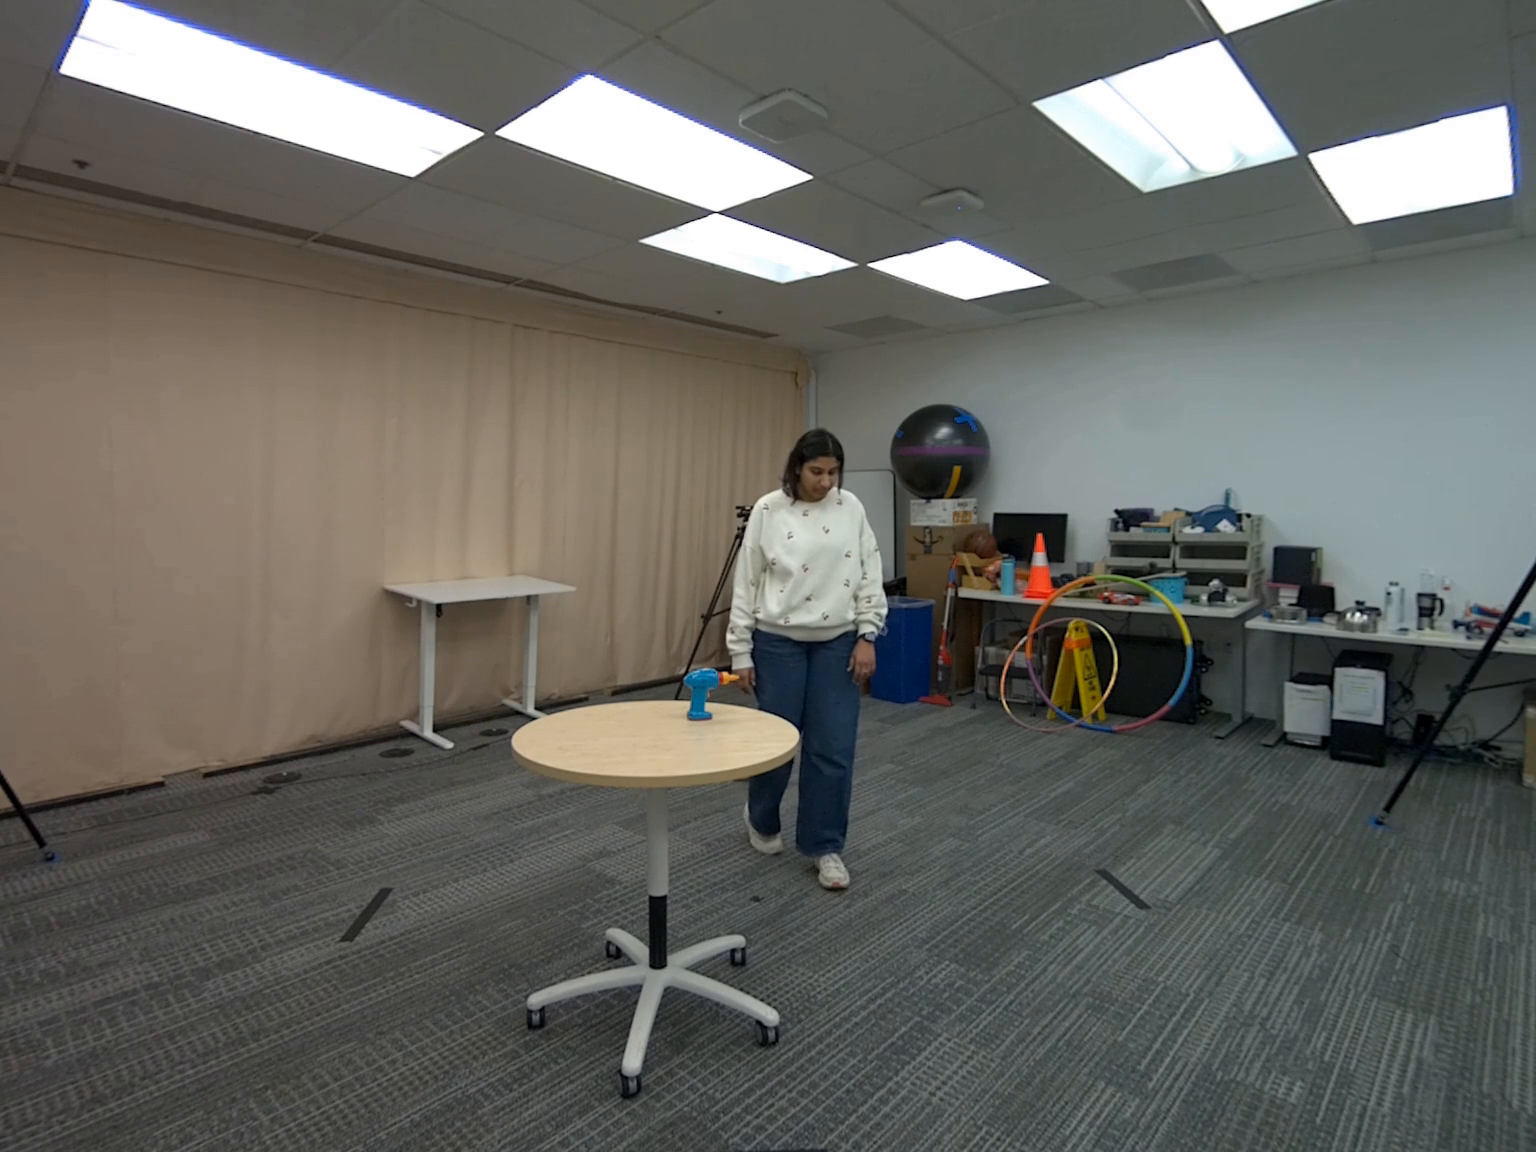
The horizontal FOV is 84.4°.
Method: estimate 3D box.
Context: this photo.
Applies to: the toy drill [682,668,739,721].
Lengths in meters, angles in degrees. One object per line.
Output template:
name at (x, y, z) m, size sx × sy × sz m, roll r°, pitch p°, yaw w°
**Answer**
toy drill at (-0.157, 0.340, 2.421) m, size 0.166 × 0.146 × 0.062 m, roll -1°, pitch 4°, yaw -19°
